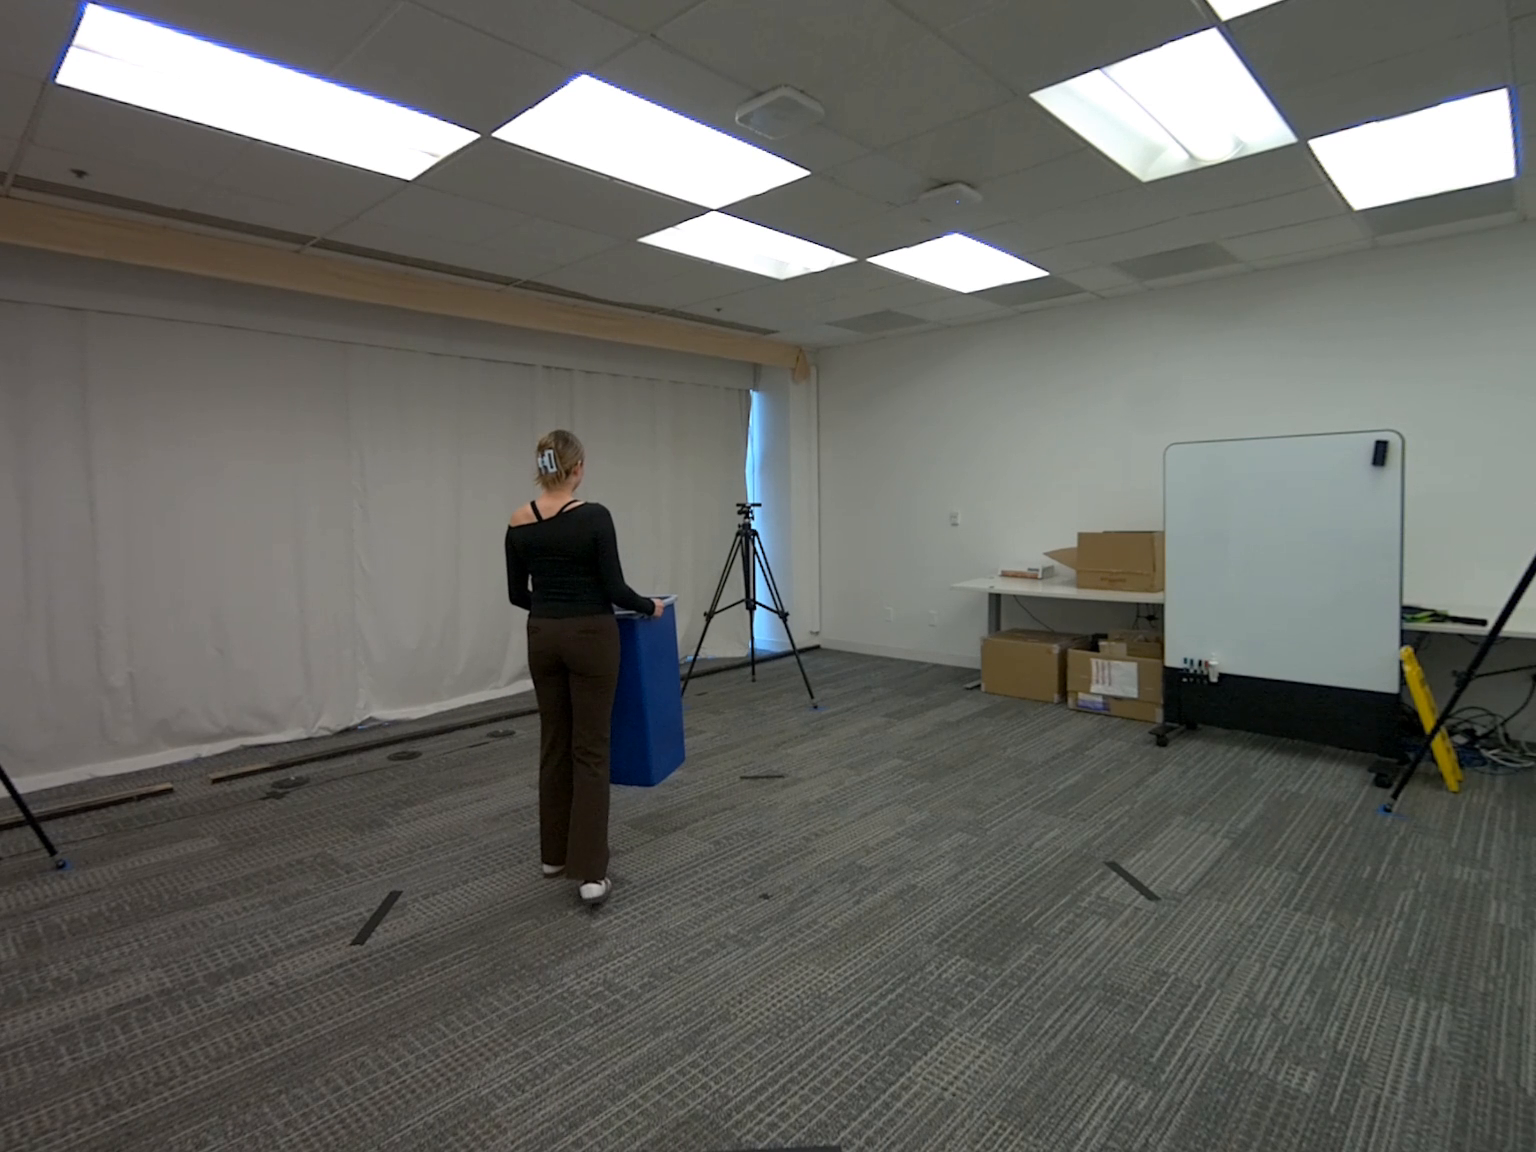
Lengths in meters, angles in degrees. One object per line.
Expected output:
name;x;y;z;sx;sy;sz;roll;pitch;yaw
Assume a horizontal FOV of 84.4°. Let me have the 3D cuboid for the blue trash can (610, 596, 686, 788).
blue trash can;-0.578;0.467;3.489;0.383;0.711;0.371;-2;6;22
